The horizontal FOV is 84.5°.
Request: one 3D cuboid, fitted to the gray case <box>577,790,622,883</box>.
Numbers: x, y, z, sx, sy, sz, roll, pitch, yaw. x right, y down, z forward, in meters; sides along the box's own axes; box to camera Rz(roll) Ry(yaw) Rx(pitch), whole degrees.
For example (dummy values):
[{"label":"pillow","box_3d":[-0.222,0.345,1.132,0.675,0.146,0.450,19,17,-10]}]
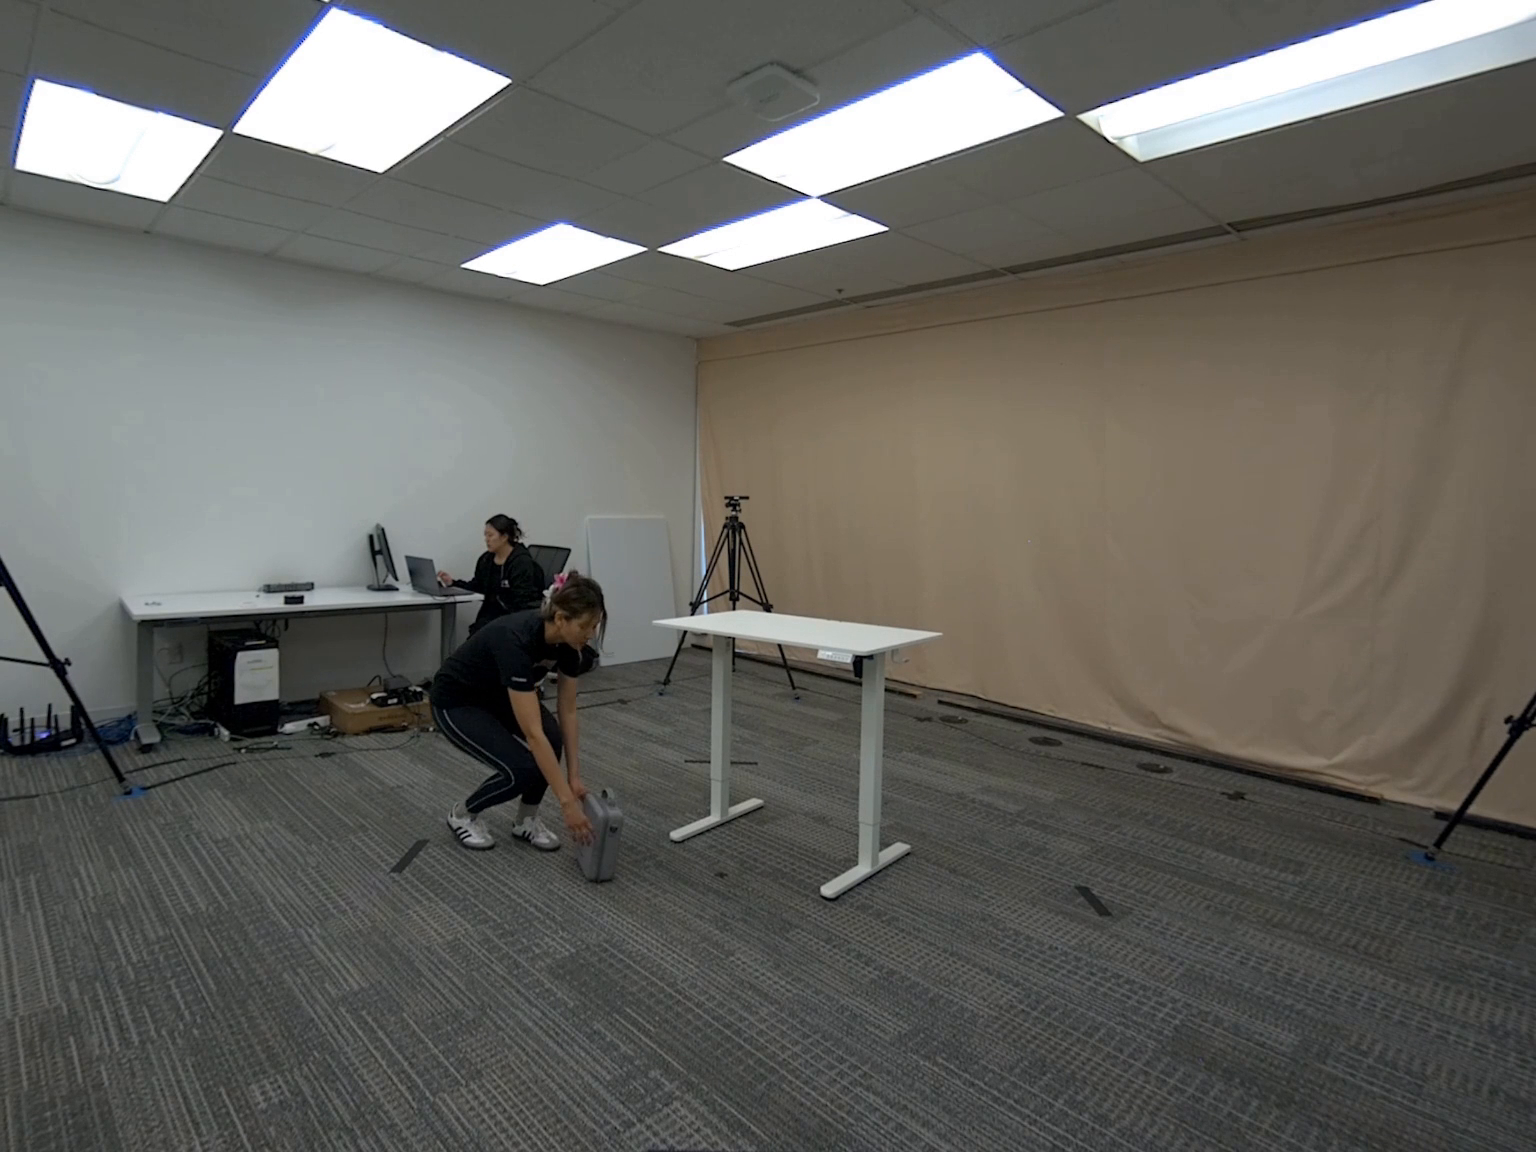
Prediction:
[{"label":"gray case","box_3d":[-0.635,0.955,3.117,0.102,0.260,0.262,9,1,-25]}]
